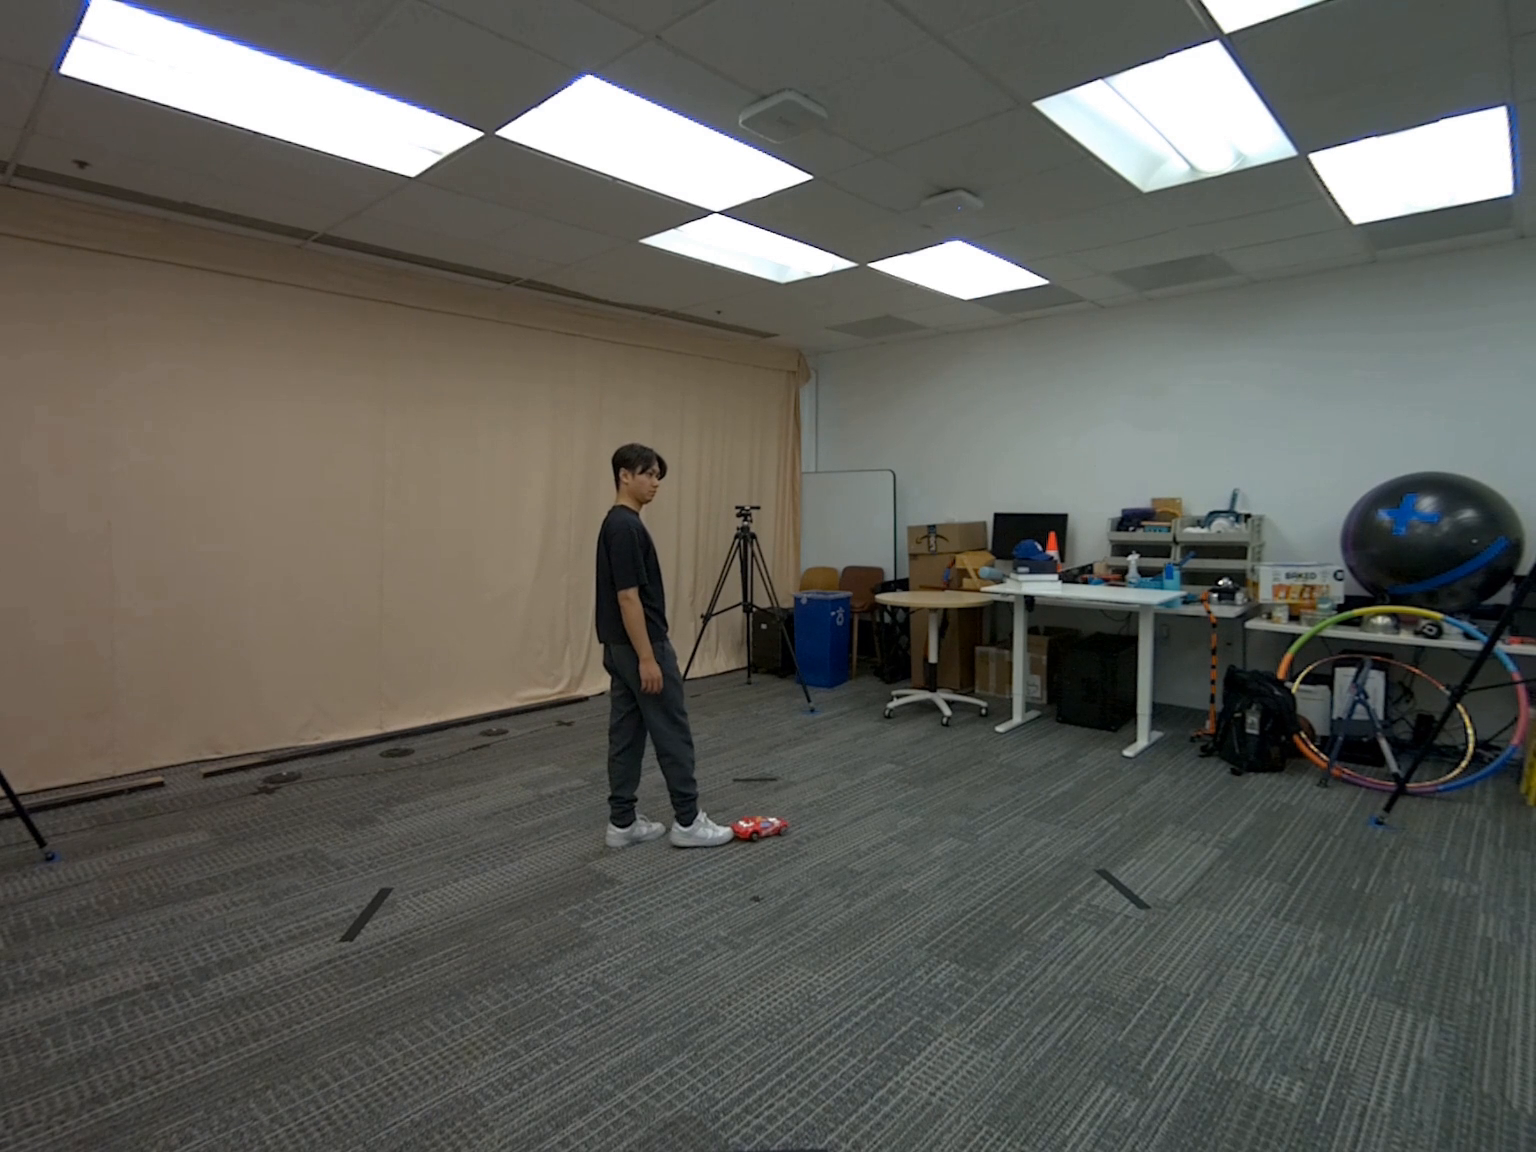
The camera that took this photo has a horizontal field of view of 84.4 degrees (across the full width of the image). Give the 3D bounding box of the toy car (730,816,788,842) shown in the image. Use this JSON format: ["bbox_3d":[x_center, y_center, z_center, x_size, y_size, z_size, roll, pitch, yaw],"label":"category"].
[{"bbox_3d":[-0.041,1.068,3.550,0.247,0.083,0.134,10,-1,-29],"label":"toy car"}]
